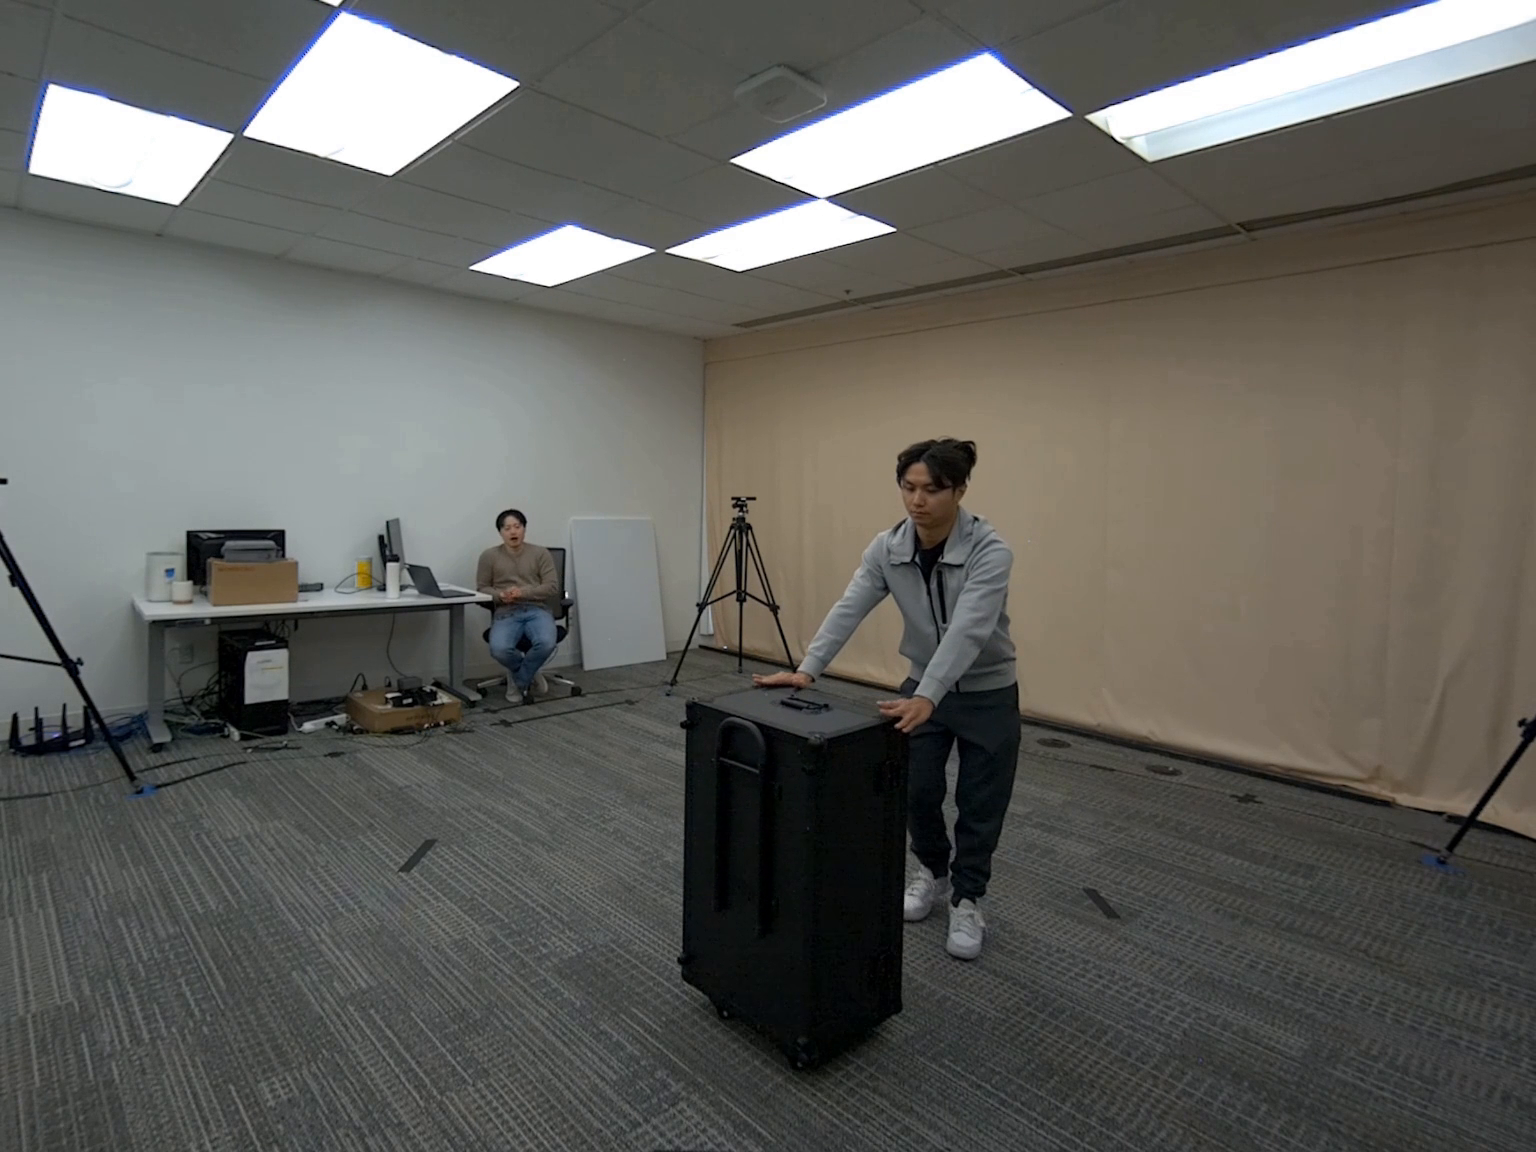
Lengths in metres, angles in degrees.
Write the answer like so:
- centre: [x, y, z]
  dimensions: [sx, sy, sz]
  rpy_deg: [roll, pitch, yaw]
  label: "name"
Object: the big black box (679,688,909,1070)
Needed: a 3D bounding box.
- centre: [0.057, 0.770, 2.216]
  dimensions: [0.387, 0.859, 0.534]
  rpy_deg: [-3, 6, -42]
  label: "big black box"
